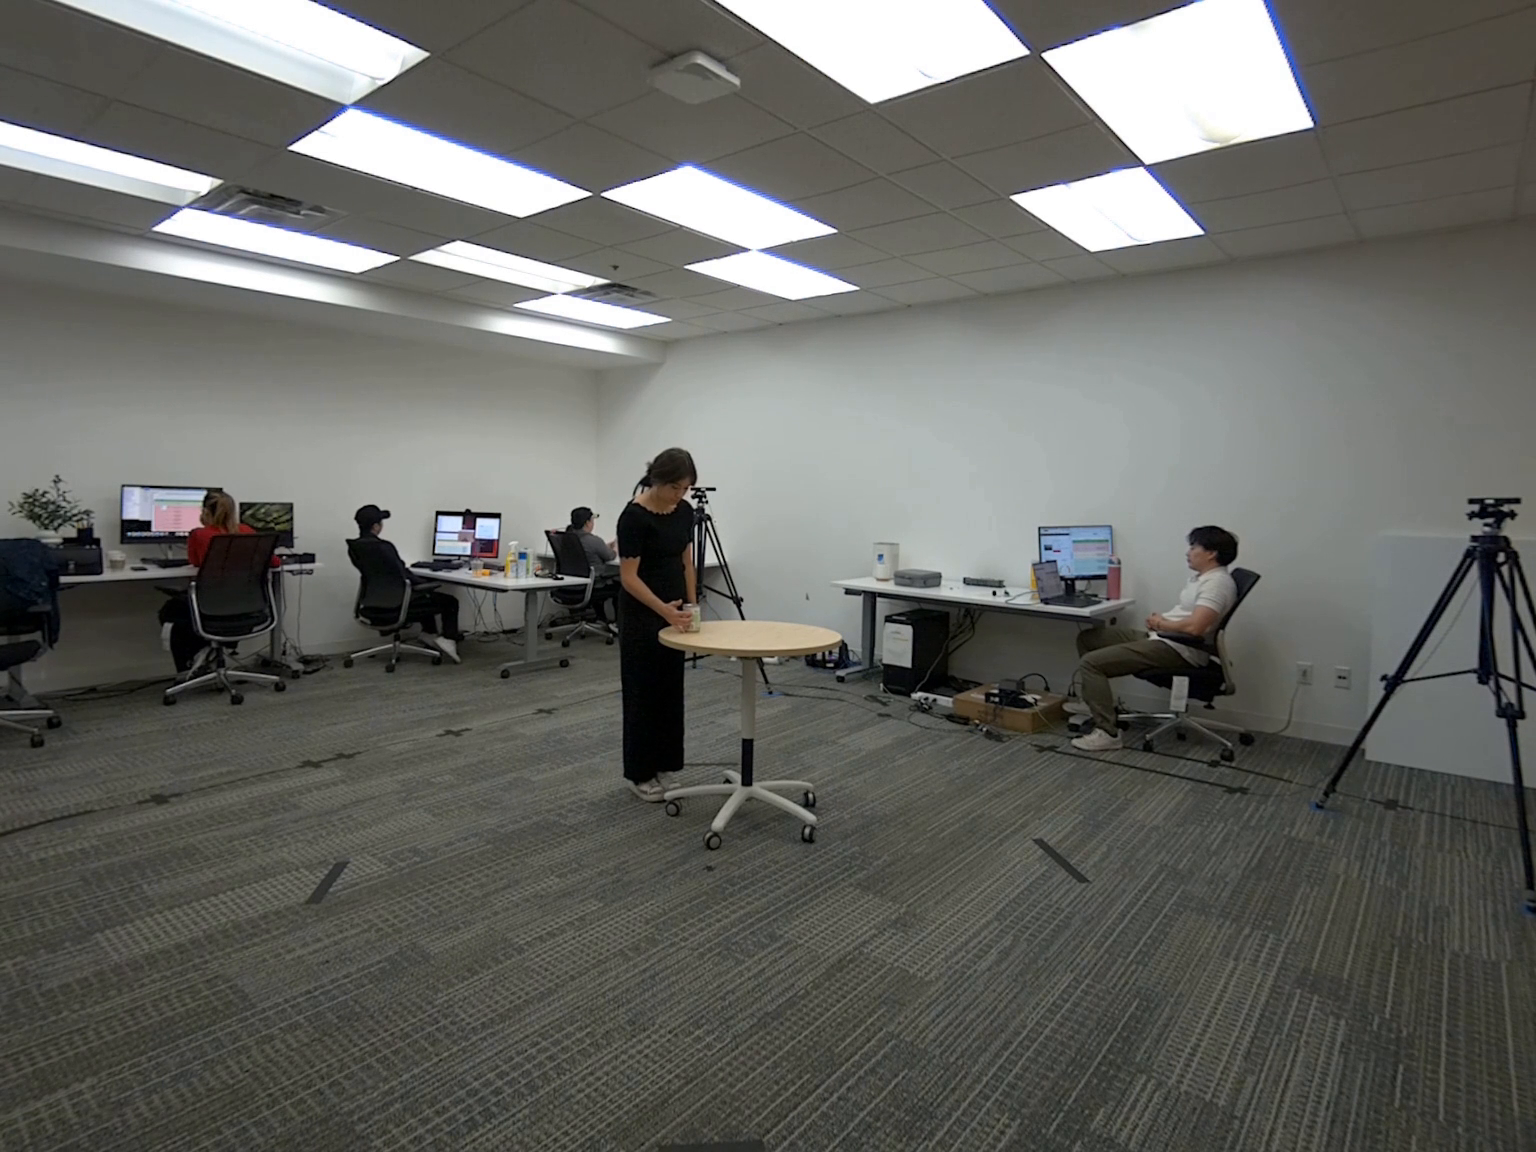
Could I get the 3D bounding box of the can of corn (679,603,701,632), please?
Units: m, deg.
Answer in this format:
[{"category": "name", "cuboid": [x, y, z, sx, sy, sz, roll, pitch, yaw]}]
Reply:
[{"category": "can of corn", "cuboid": [-0.337, 0.180, 3.599, 0.074, 0.110, 0.075, -2, 5, -2]}]
